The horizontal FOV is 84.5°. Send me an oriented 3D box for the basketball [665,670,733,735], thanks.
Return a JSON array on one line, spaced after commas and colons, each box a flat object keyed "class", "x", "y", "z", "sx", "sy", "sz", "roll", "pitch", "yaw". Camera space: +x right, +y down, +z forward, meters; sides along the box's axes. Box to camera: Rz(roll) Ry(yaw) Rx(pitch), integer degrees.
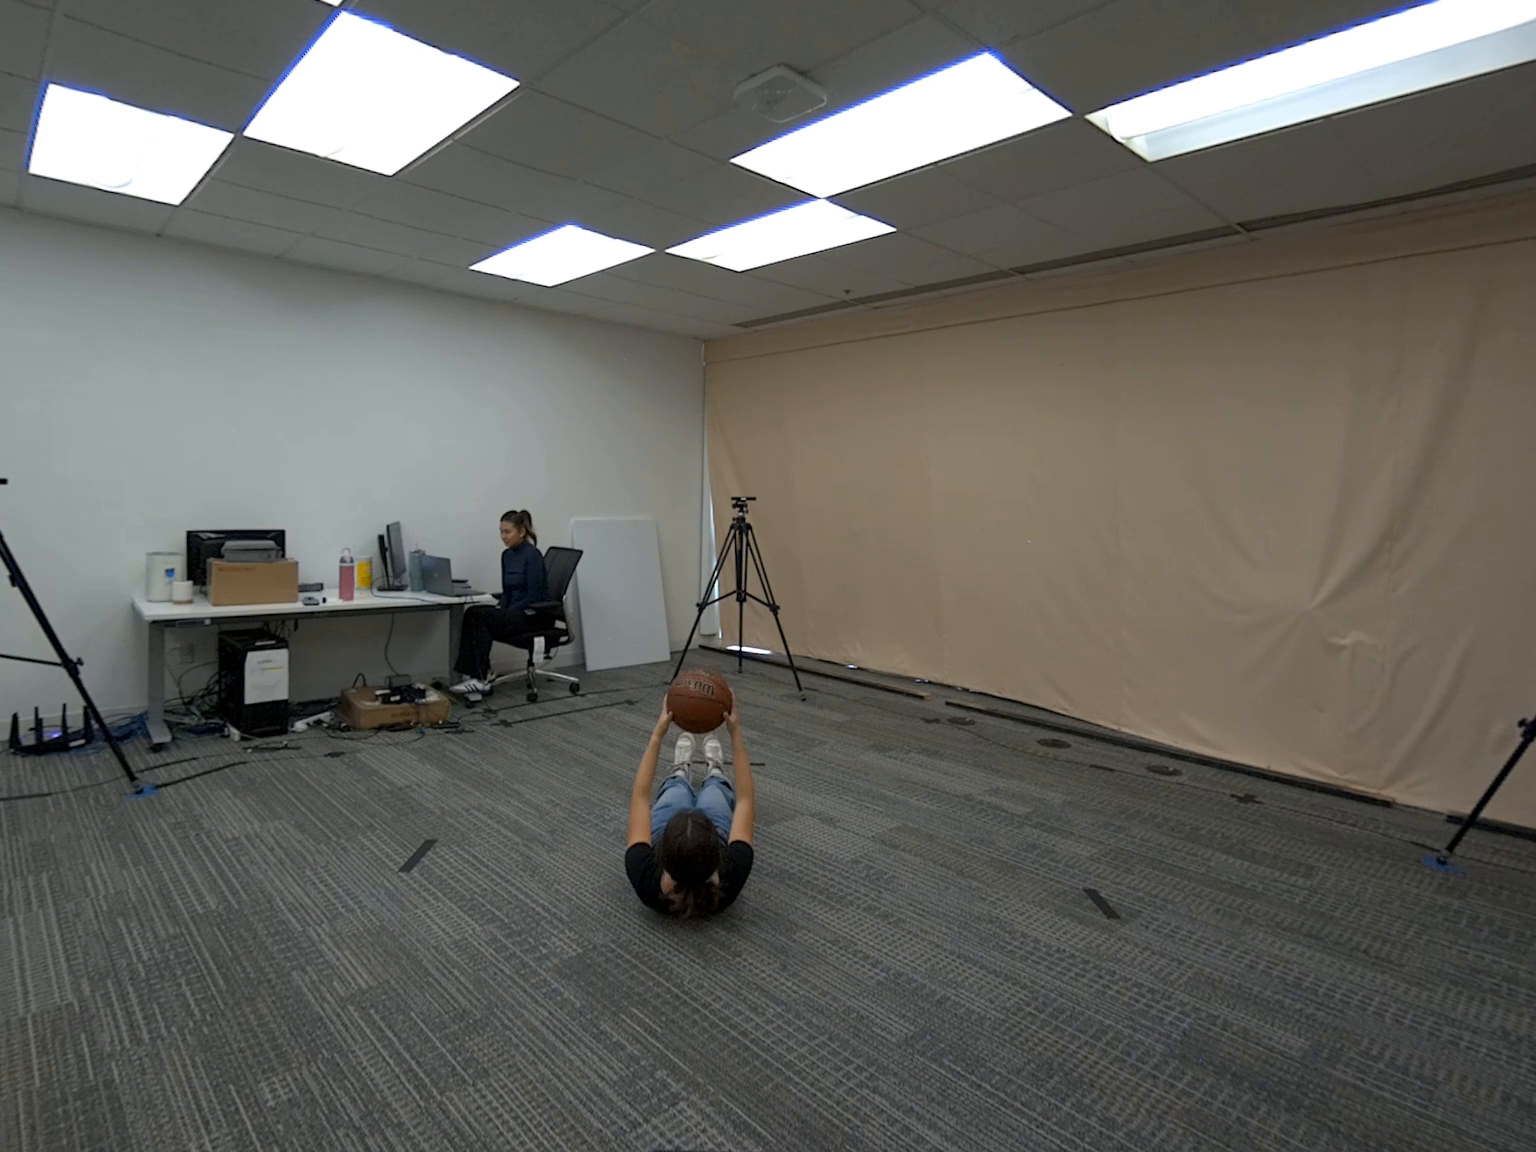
[{"class": "basketball", "x": -0.251, "y": 0.470, "z": 3.043, "sx": 0.236, "sy": 0.235, "sz": 0.237, "roll": 1, "pitch": 4, "yaw": -1}]
